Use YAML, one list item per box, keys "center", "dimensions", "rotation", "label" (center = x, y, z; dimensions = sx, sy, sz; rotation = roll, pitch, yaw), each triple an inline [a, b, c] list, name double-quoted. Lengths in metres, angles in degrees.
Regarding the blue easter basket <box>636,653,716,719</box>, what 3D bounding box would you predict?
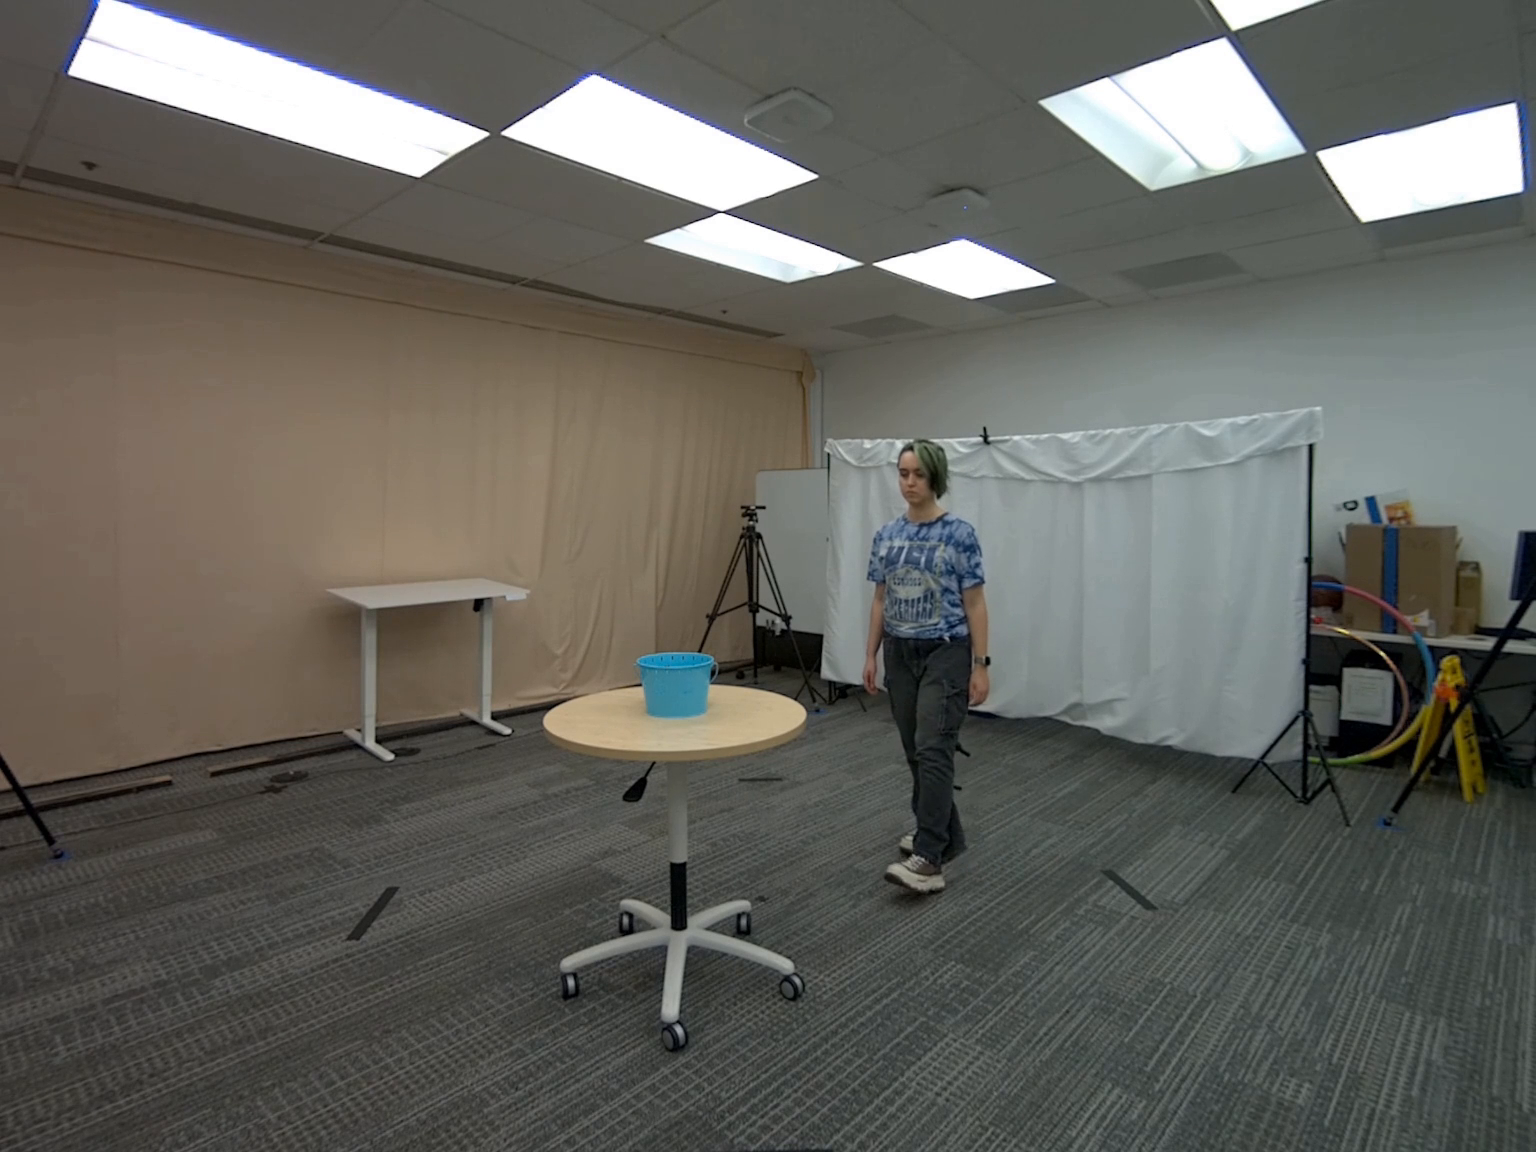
- center: [-0.267, 0.329, 2.492]
  dimensions: [0.243, 0.155, 0.244]
  rotation: [-1, 5, -2]
  label: "blue easter basket"
